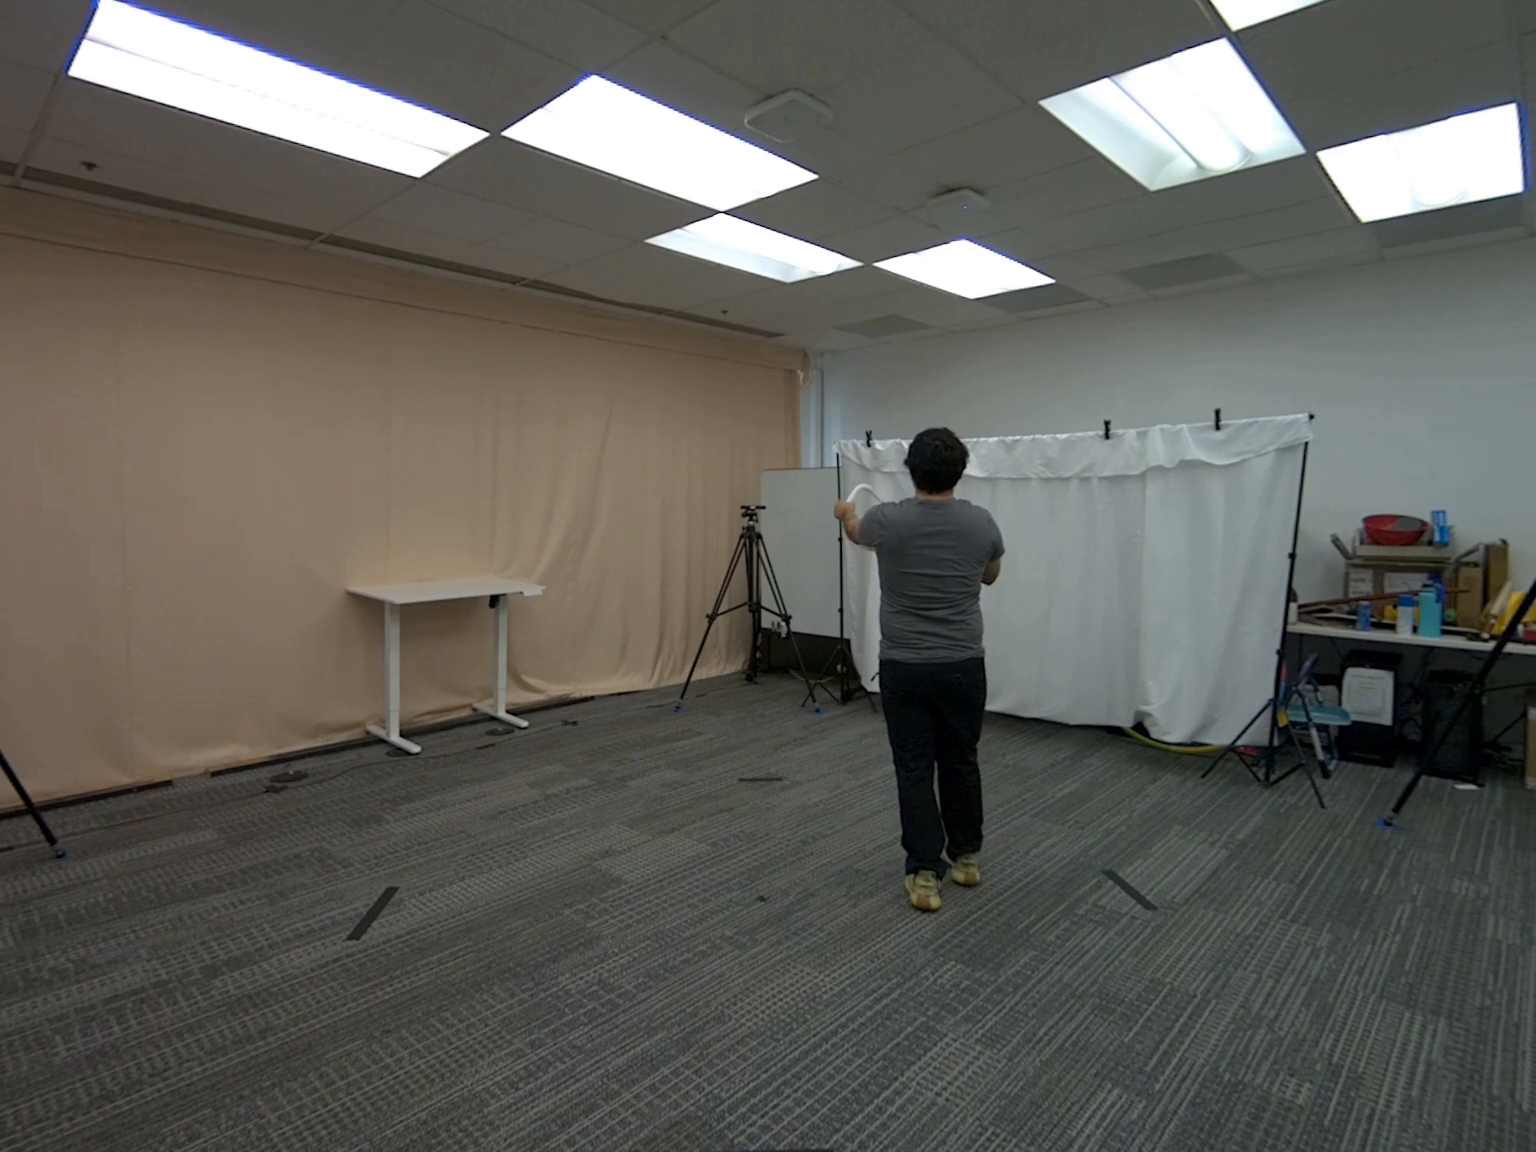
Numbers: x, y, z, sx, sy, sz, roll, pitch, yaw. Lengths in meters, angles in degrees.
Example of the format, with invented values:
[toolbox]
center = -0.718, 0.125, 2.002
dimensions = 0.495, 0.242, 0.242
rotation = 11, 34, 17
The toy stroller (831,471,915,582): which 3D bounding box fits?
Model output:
[toy stroller]
center = 0.582, -0.135, 3.560
dimensions = 0.550, 0.281, 0.333
rotation = 30, -17, 23
